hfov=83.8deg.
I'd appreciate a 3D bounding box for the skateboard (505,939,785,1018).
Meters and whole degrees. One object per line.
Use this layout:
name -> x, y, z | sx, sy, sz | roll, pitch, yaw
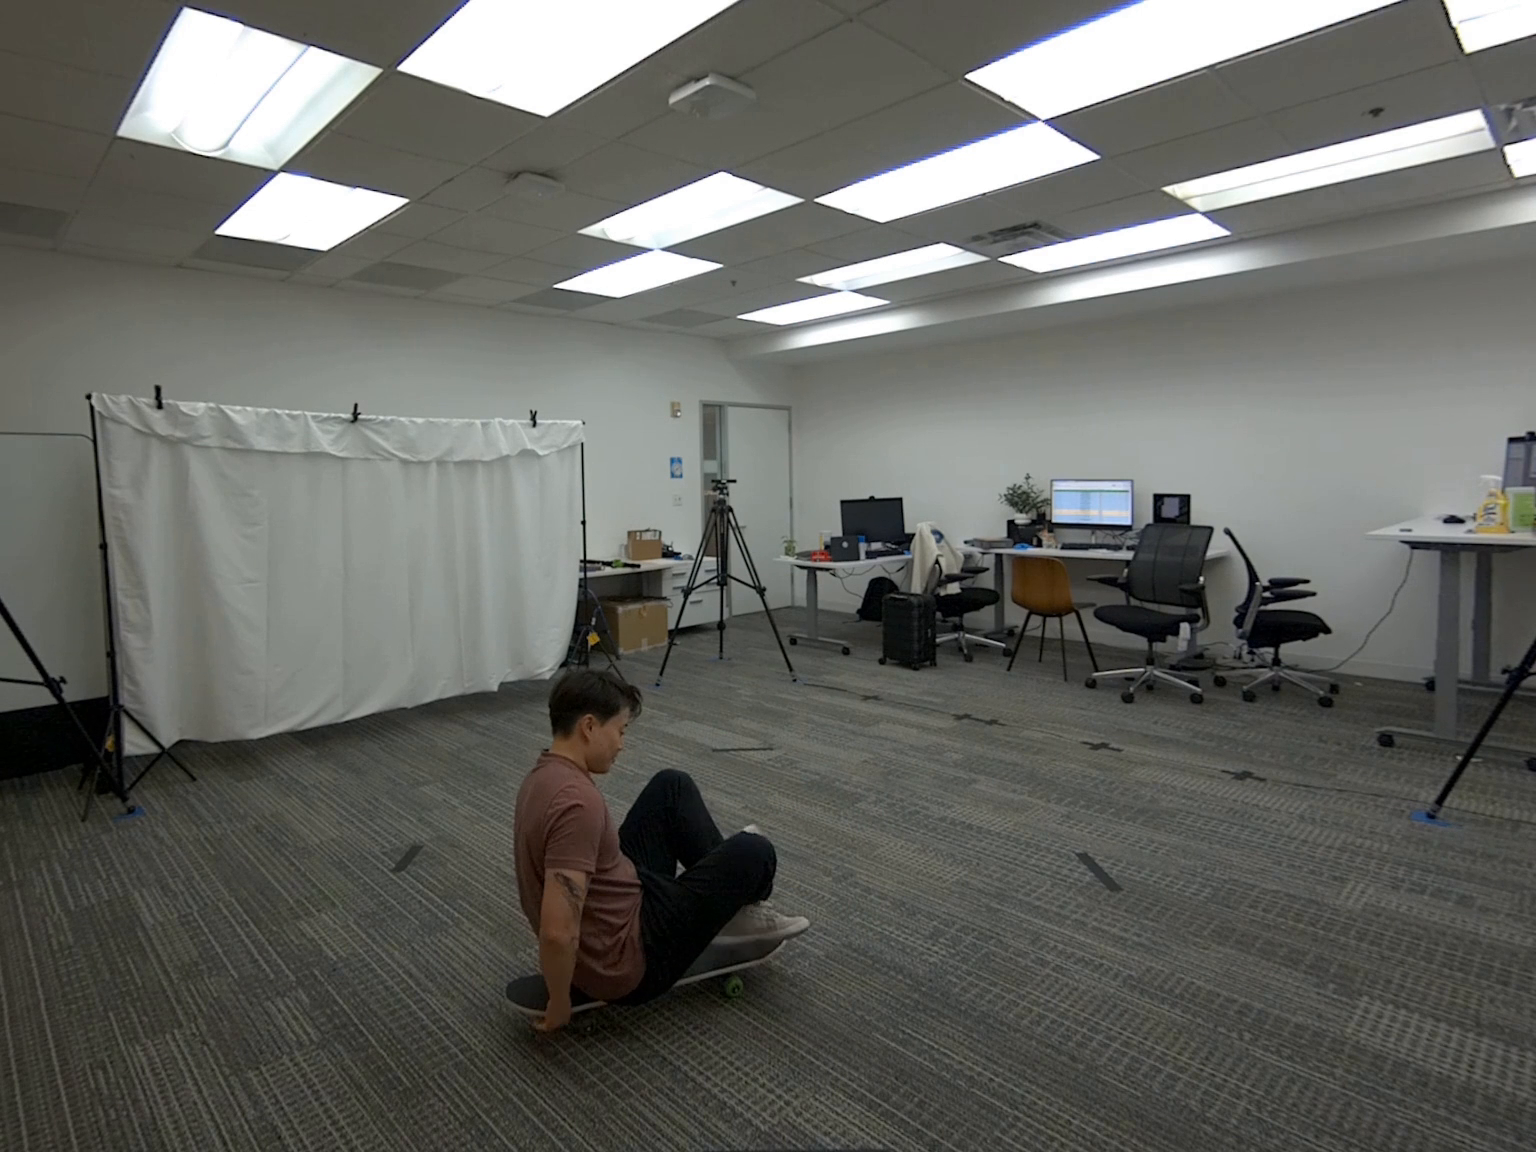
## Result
skateboard -> -0.301, 1.085, 2.322 | 0.770, 0.110, 0.198 | -4, 5, -23
